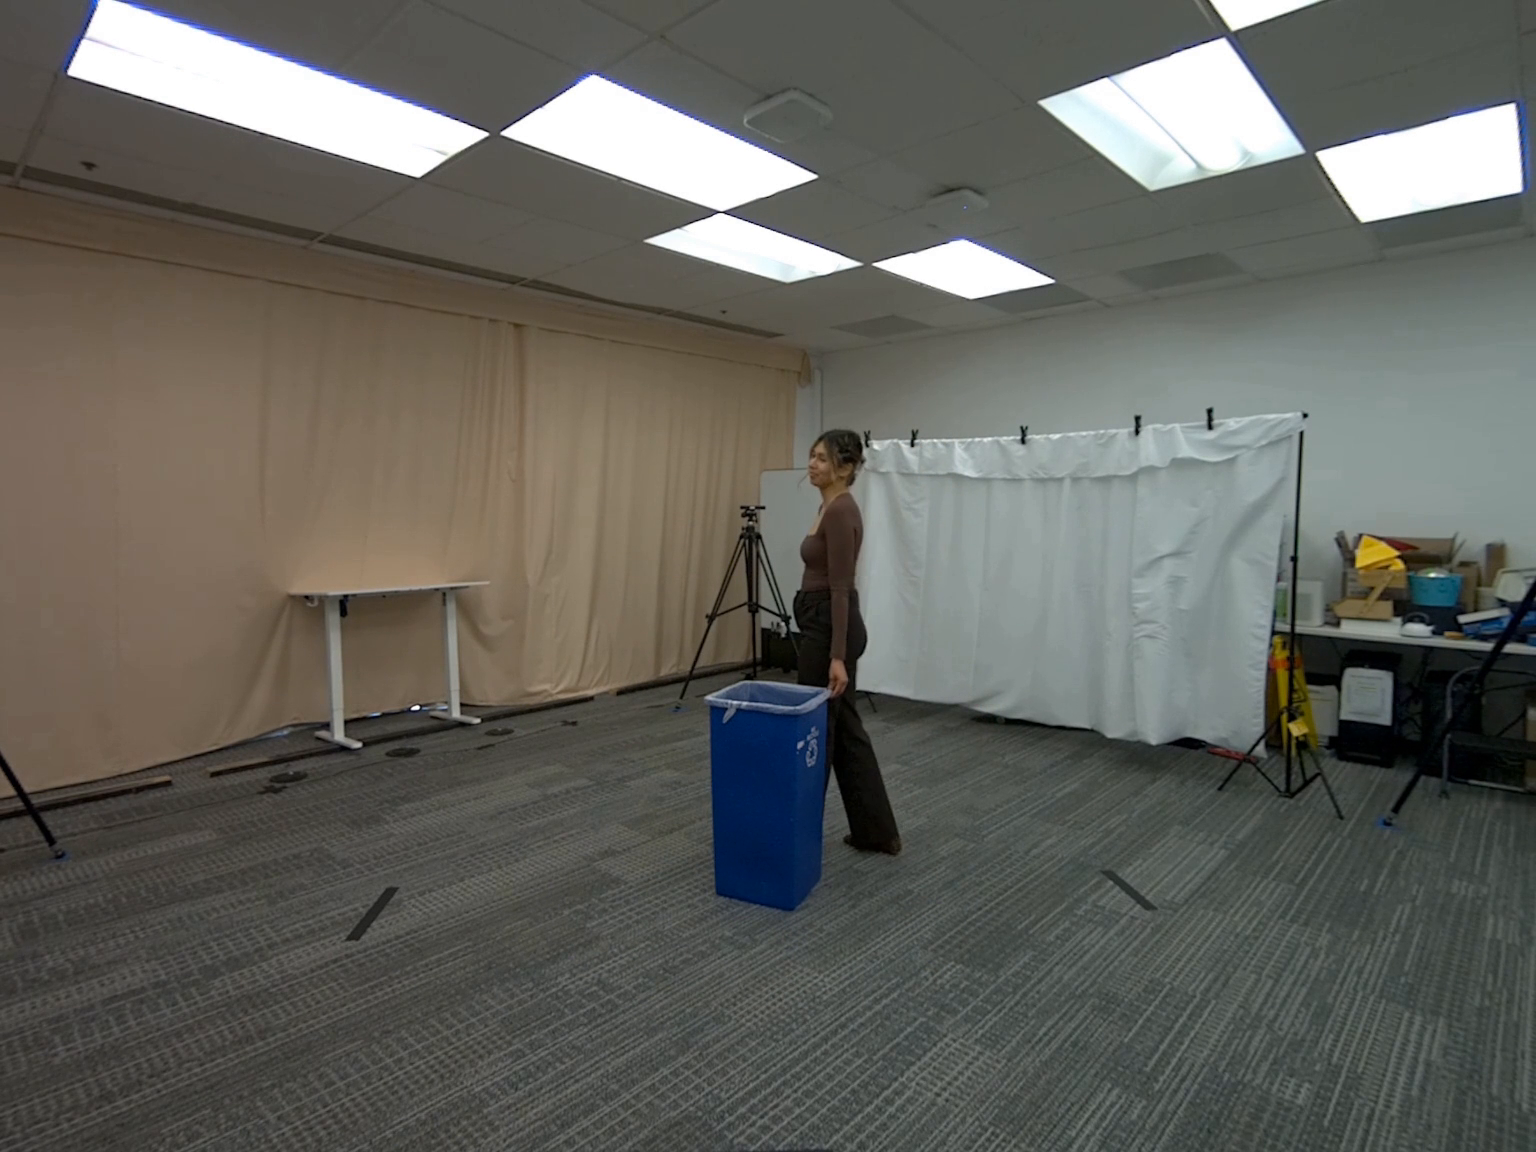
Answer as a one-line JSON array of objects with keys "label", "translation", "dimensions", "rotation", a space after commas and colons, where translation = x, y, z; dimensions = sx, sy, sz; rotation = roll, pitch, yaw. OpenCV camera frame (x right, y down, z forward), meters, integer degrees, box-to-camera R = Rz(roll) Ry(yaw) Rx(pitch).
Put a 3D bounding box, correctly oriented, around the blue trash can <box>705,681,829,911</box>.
[{"label": "blue trash can", "translation": [0.004, 0.777, 3.069], "dimensions": [0.388, 0.712, 0.365], "rotation": [2, 4, 25]}]
